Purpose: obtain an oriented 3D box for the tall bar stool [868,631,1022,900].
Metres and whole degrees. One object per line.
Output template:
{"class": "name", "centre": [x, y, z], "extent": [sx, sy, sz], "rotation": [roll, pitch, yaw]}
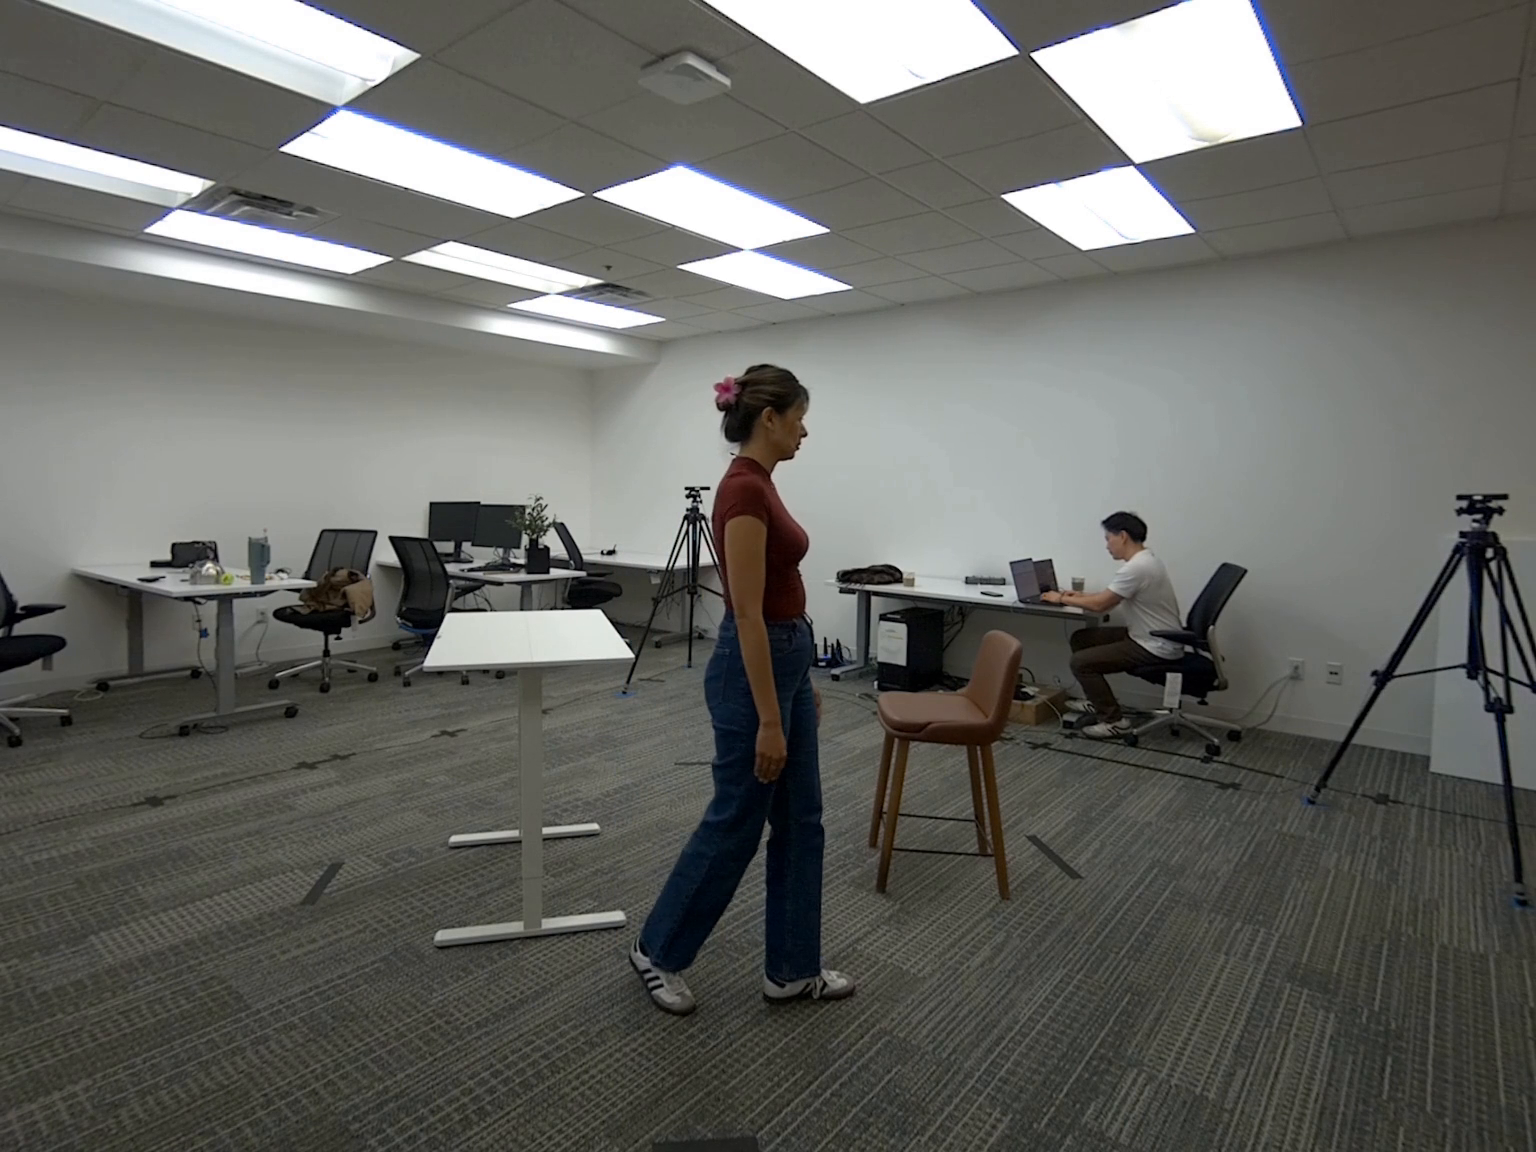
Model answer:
{"class": "tall bar stool", "centre": [0.622, 0.652, 3.098], "extent": [0.471, 0.887, 0.455], "rotation": [2, 4, 5]}
